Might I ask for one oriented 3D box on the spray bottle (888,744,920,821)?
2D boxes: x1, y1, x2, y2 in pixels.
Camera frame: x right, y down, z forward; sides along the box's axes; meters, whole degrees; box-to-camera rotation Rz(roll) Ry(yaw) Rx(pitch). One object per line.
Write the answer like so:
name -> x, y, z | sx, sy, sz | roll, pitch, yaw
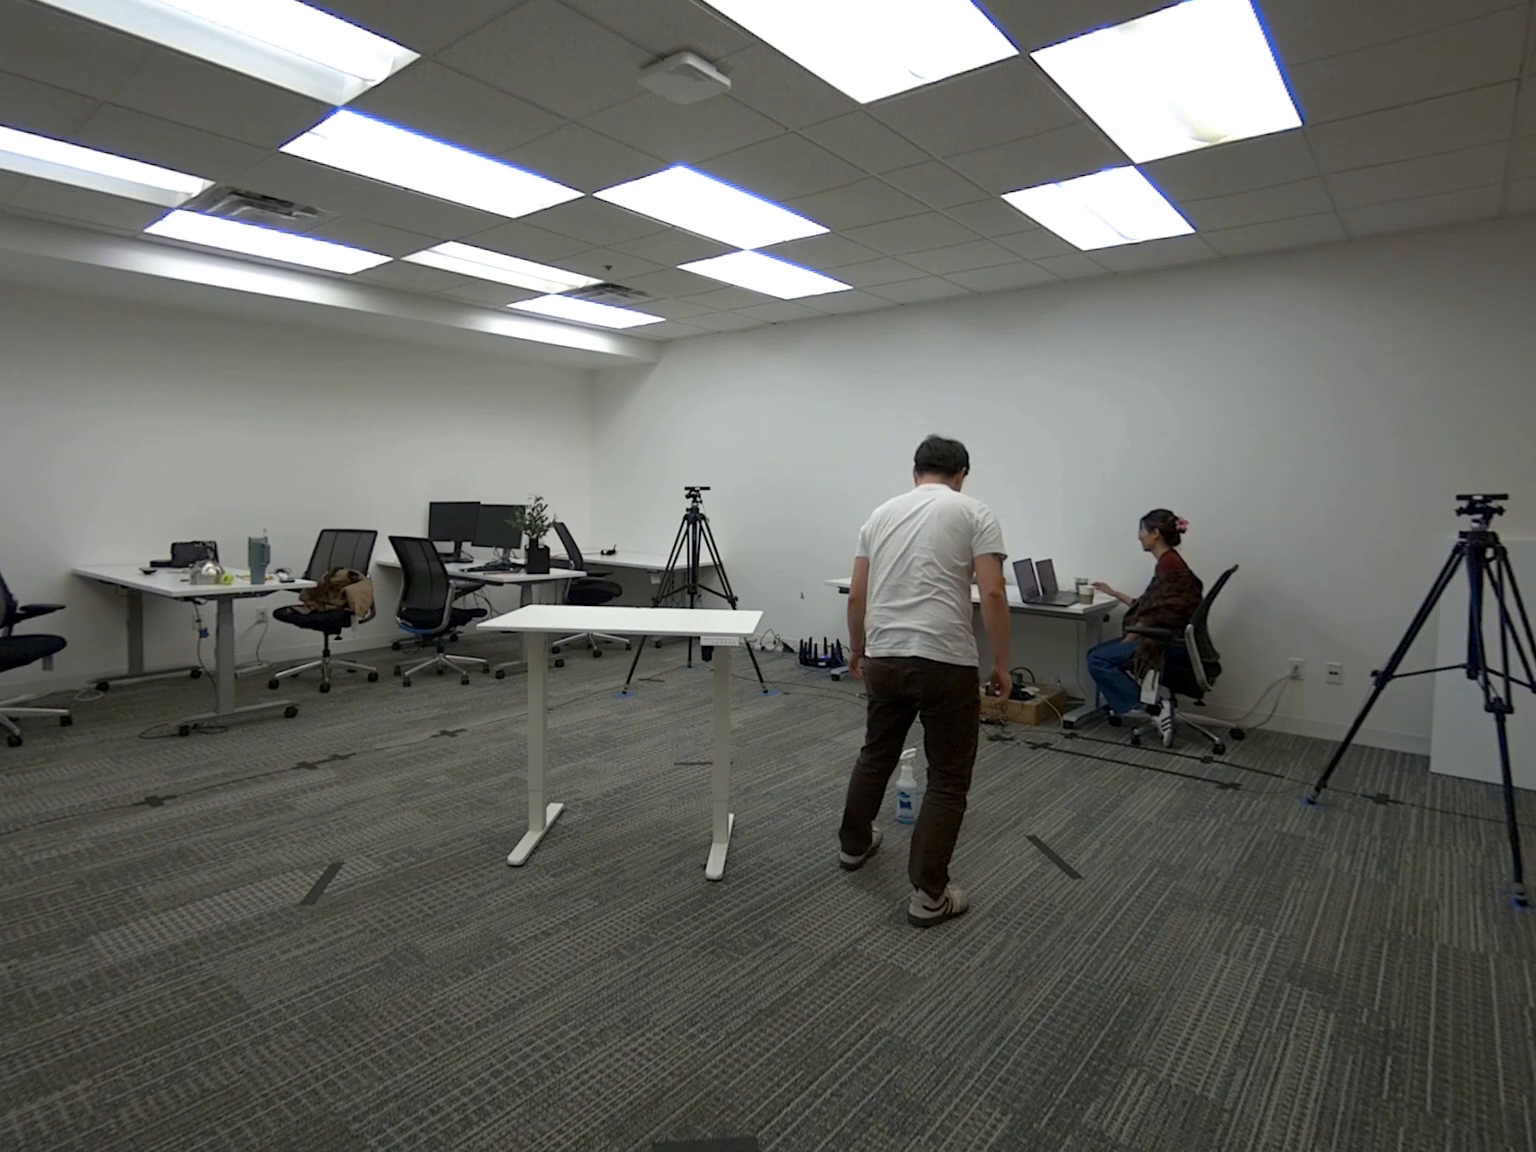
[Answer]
spray bottle -> 0.578, 0.881, 3.598 | 0.089, 0.297, 0.088 | 2, 2, -11
